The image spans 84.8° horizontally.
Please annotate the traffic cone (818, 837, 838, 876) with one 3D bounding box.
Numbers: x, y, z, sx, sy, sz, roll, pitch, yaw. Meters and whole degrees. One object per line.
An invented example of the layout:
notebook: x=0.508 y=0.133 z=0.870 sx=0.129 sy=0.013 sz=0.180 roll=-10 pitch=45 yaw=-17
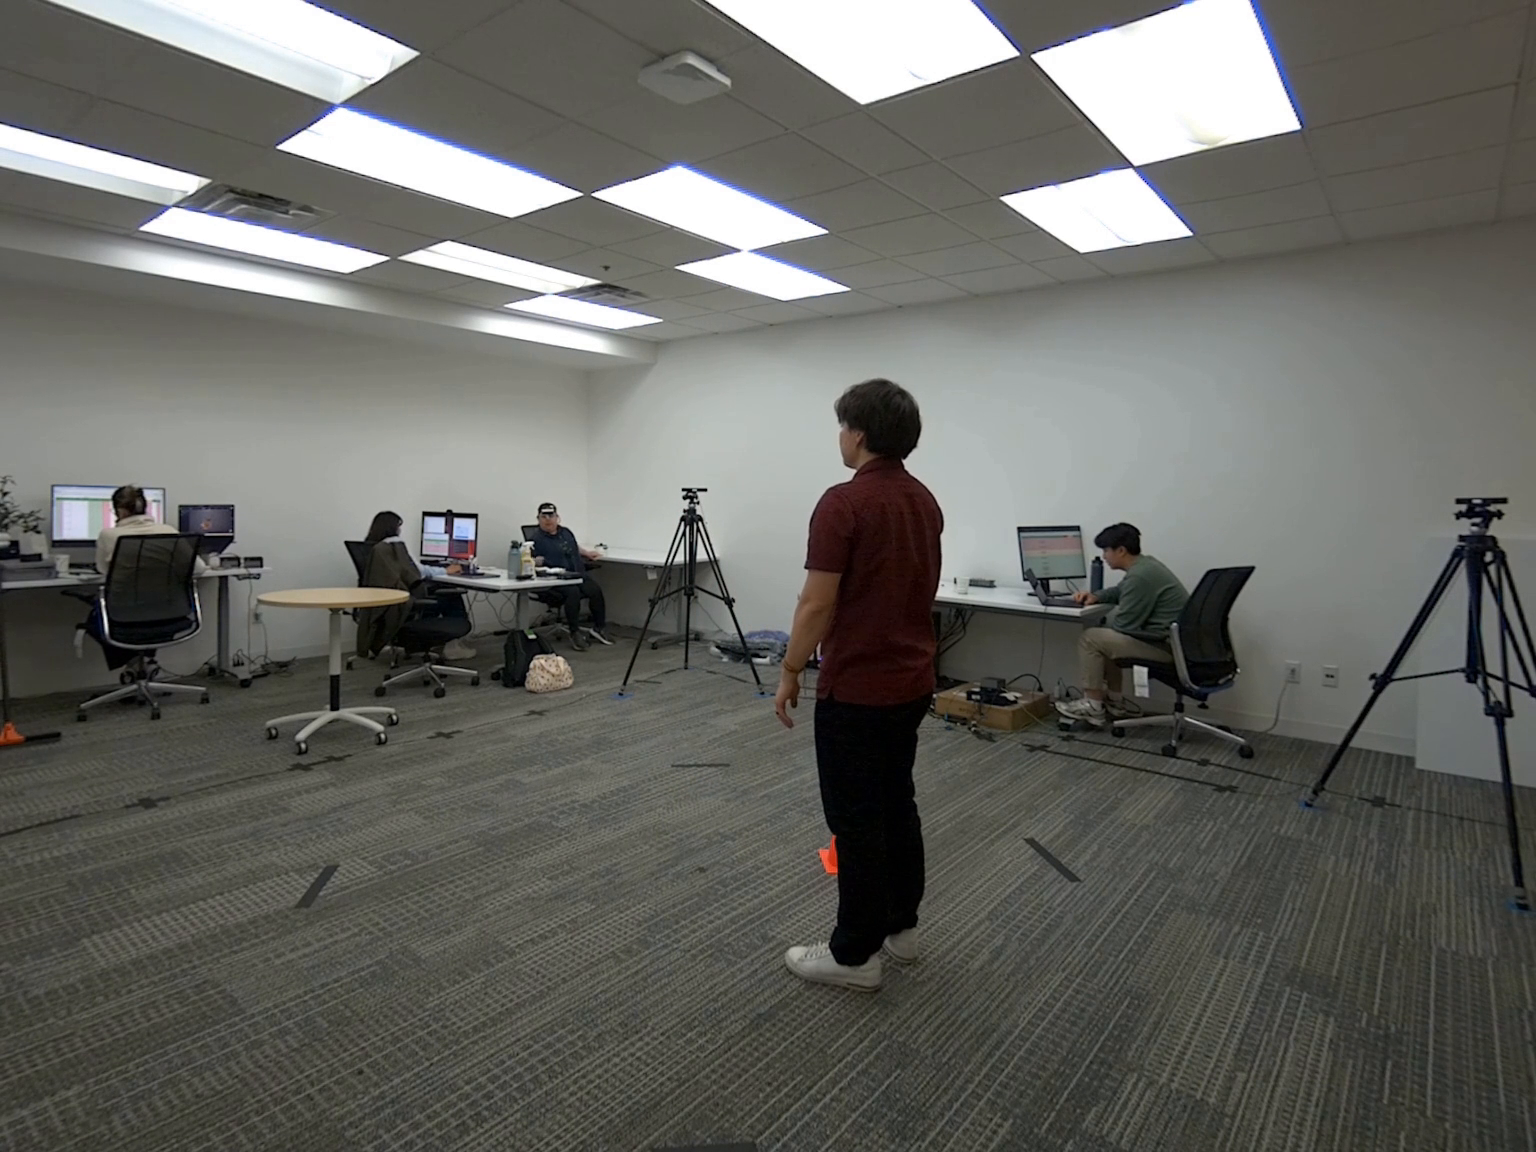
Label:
traffic cone: x=0.308 y=0.883 z=3.187 sx=0.204 sy=0.383 sz=0.204 roll=3 pitch=3 yaw=-3
